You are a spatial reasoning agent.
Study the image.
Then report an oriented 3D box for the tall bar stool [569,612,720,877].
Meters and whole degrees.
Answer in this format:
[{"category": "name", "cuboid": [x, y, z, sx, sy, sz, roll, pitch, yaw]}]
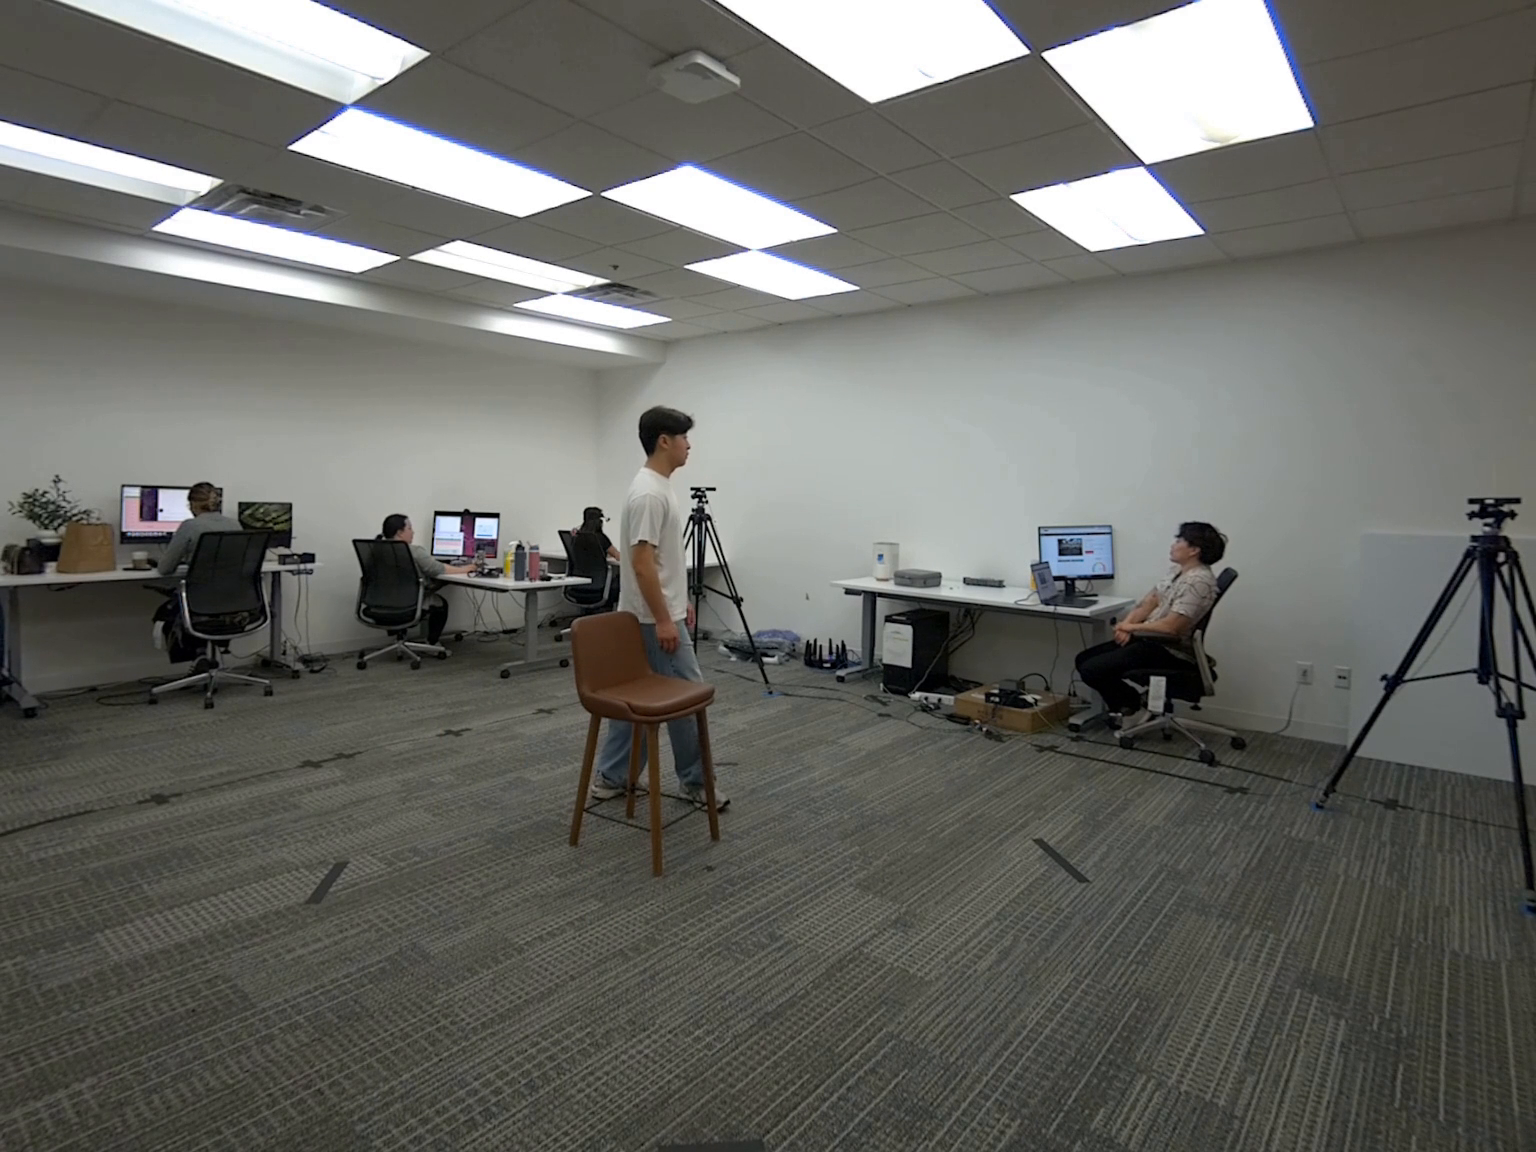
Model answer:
[{"category": "tall bar stool", "cuboid": [-0.490, 0.607, 3.307, 0.481, 0.888, 0.444, 0, 2, 32]}]
